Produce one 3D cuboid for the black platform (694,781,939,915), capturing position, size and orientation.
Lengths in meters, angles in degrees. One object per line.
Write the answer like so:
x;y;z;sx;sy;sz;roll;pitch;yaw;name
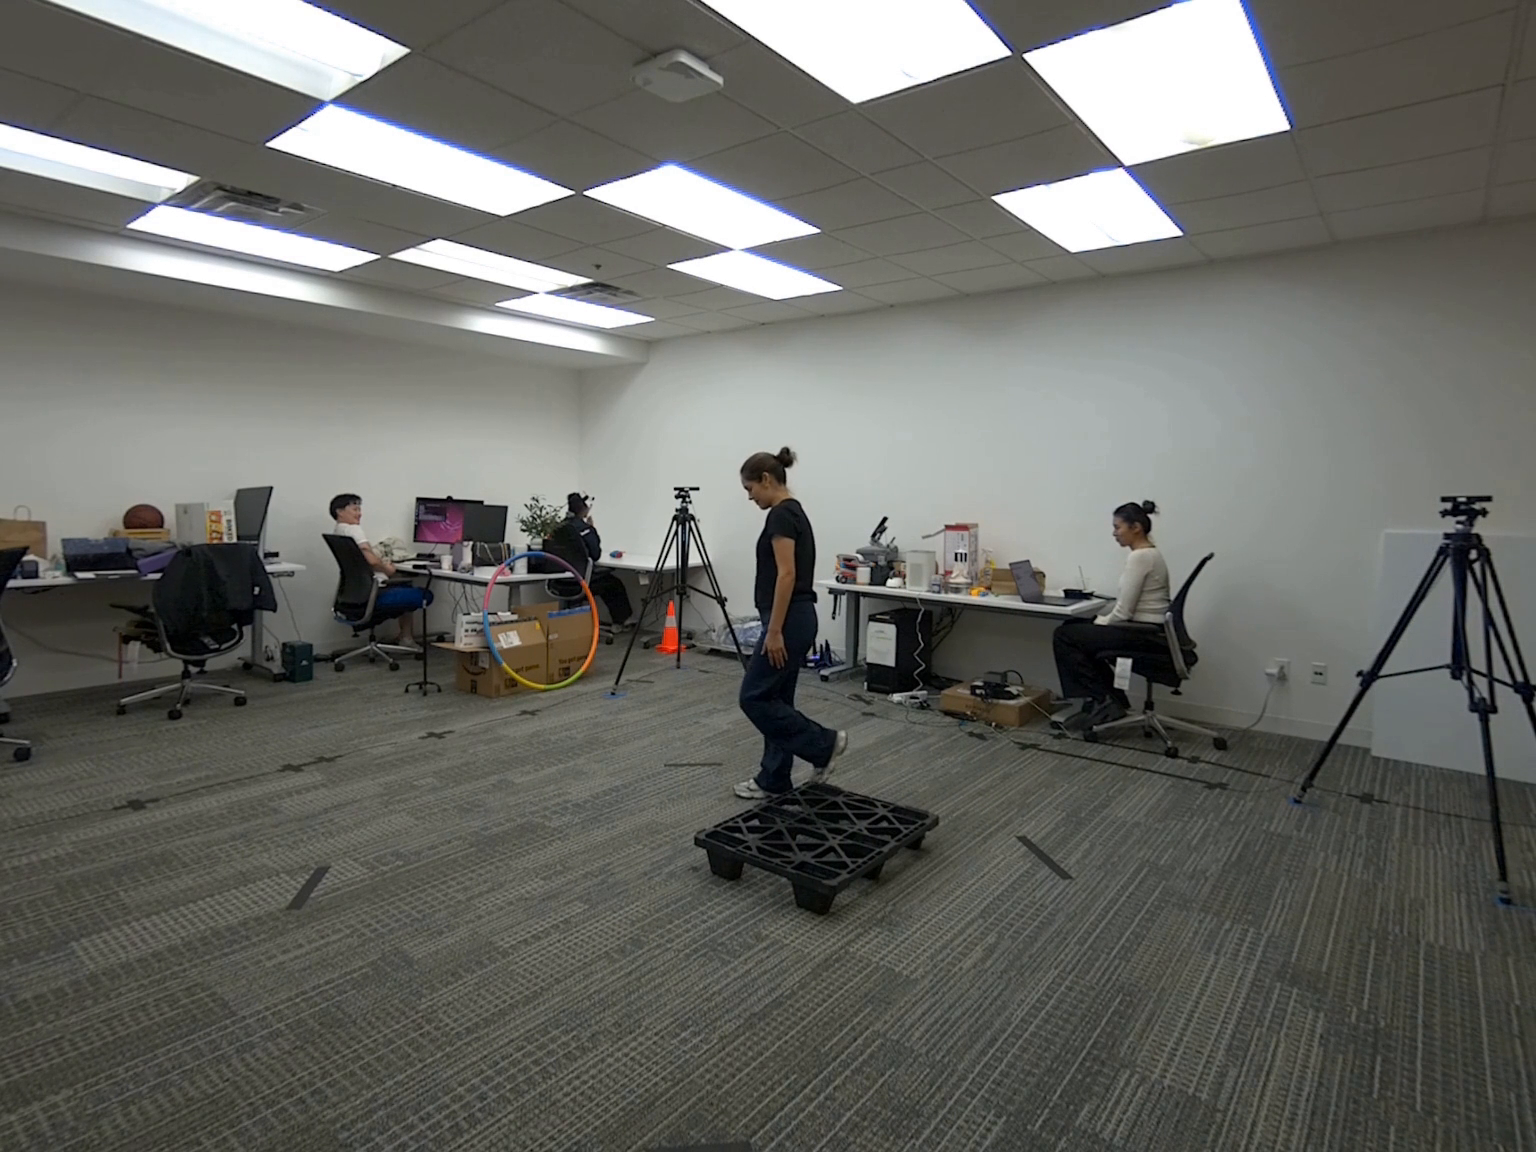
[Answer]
0.209;0.996;3.207;0.625;0.143;0.782;5;6;38;black platform
